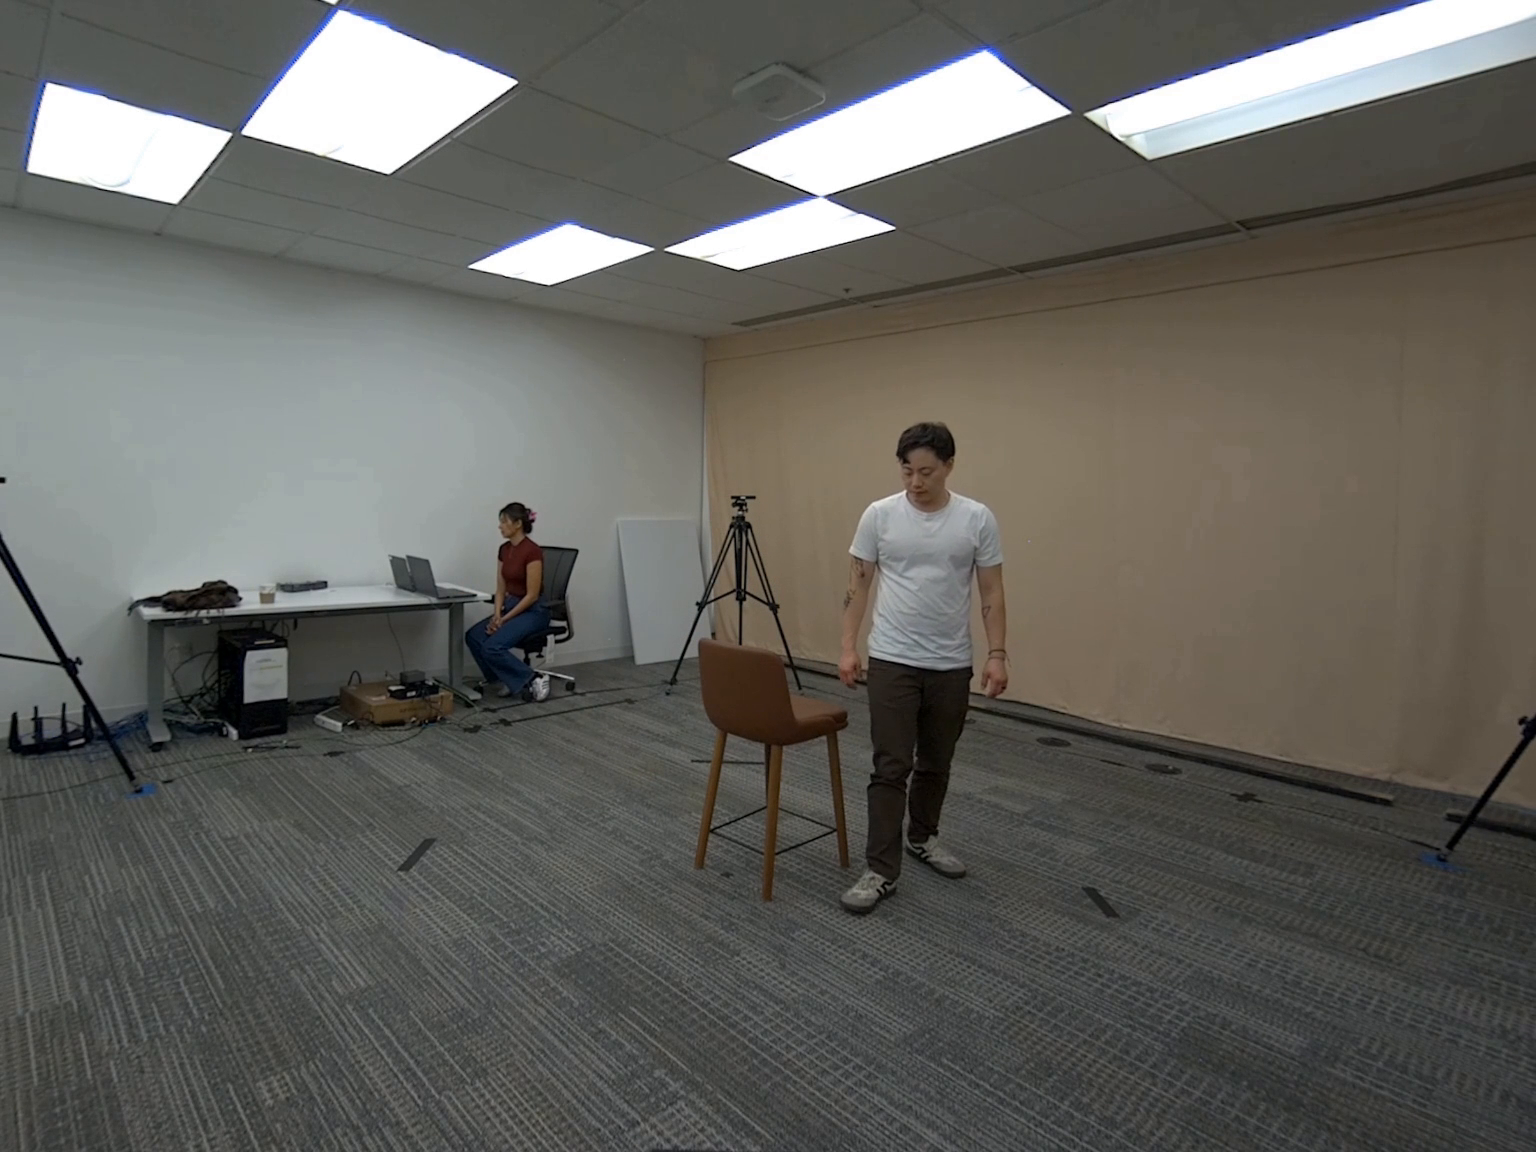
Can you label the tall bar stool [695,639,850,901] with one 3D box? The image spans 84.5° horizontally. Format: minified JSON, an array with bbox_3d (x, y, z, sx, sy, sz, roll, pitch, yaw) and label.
[{"bbox_3d":[0.014,0.665,3.157,0.468,0.887,0.457,4,6,43],"label":"tall bar stool"}]
